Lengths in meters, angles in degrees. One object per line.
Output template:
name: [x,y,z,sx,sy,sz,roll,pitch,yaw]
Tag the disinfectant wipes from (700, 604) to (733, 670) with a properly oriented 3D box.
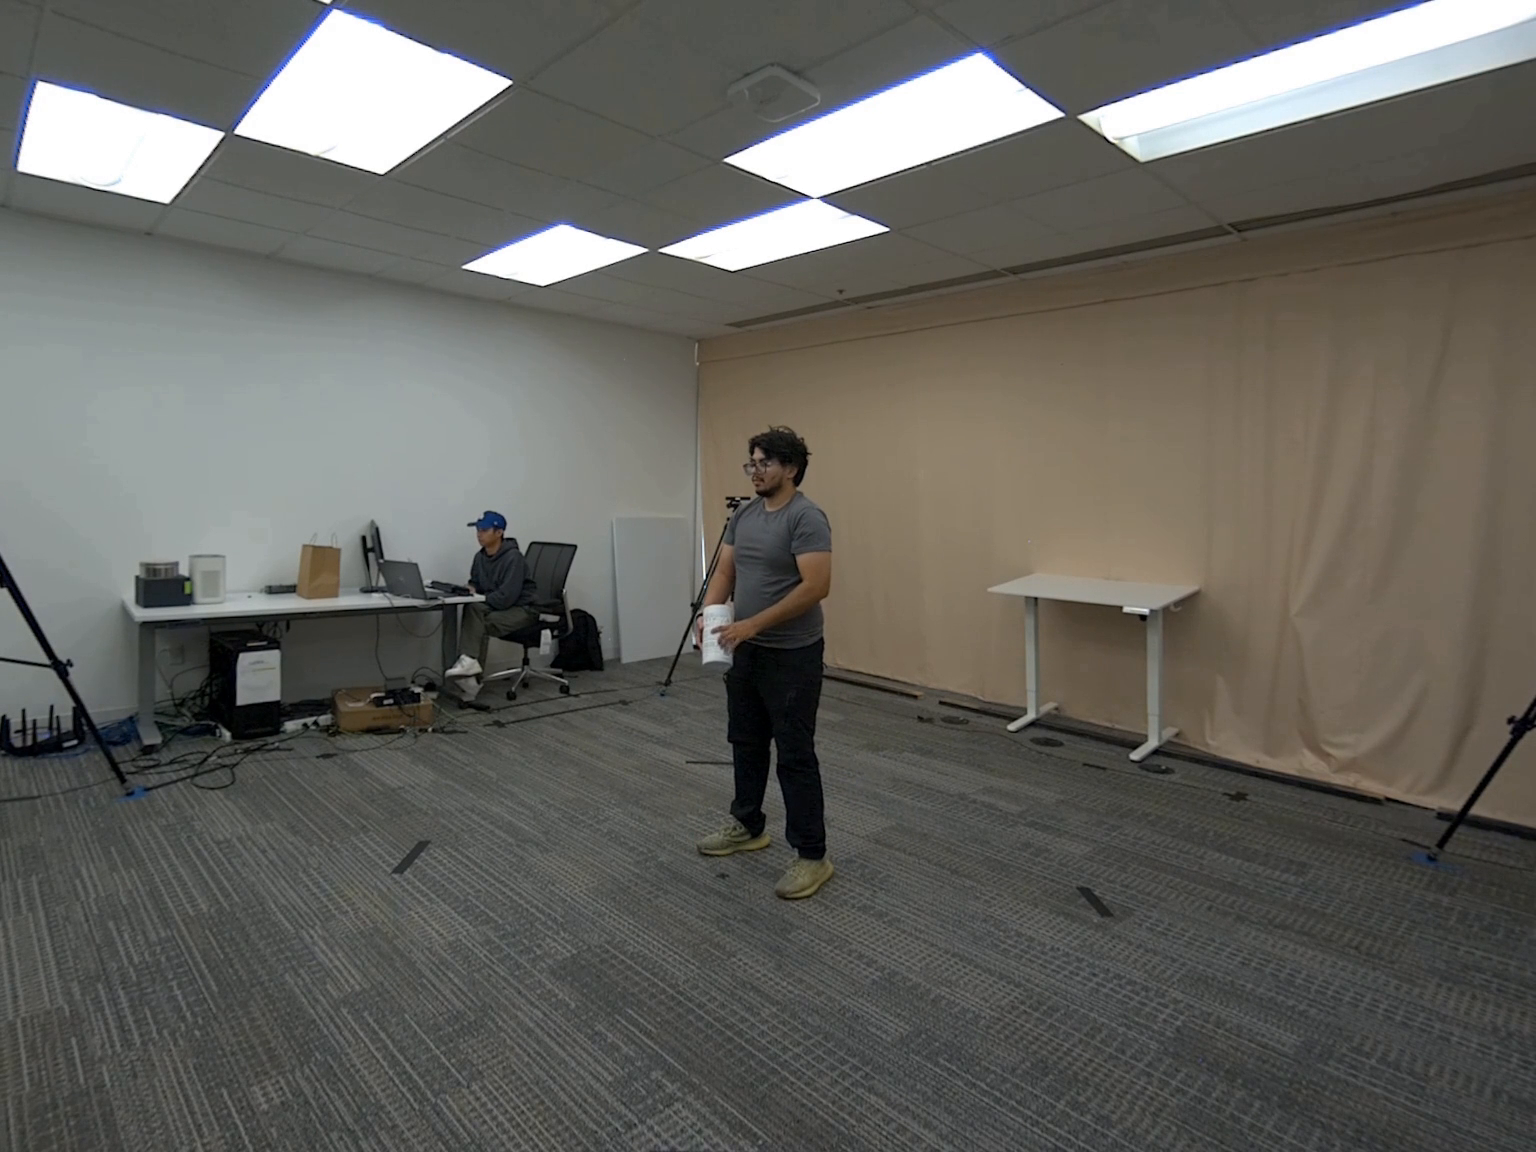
disinfectant wipes: [-0.183,0.221,3.008,0.118,0.221,0.116,0,-22,-1]
